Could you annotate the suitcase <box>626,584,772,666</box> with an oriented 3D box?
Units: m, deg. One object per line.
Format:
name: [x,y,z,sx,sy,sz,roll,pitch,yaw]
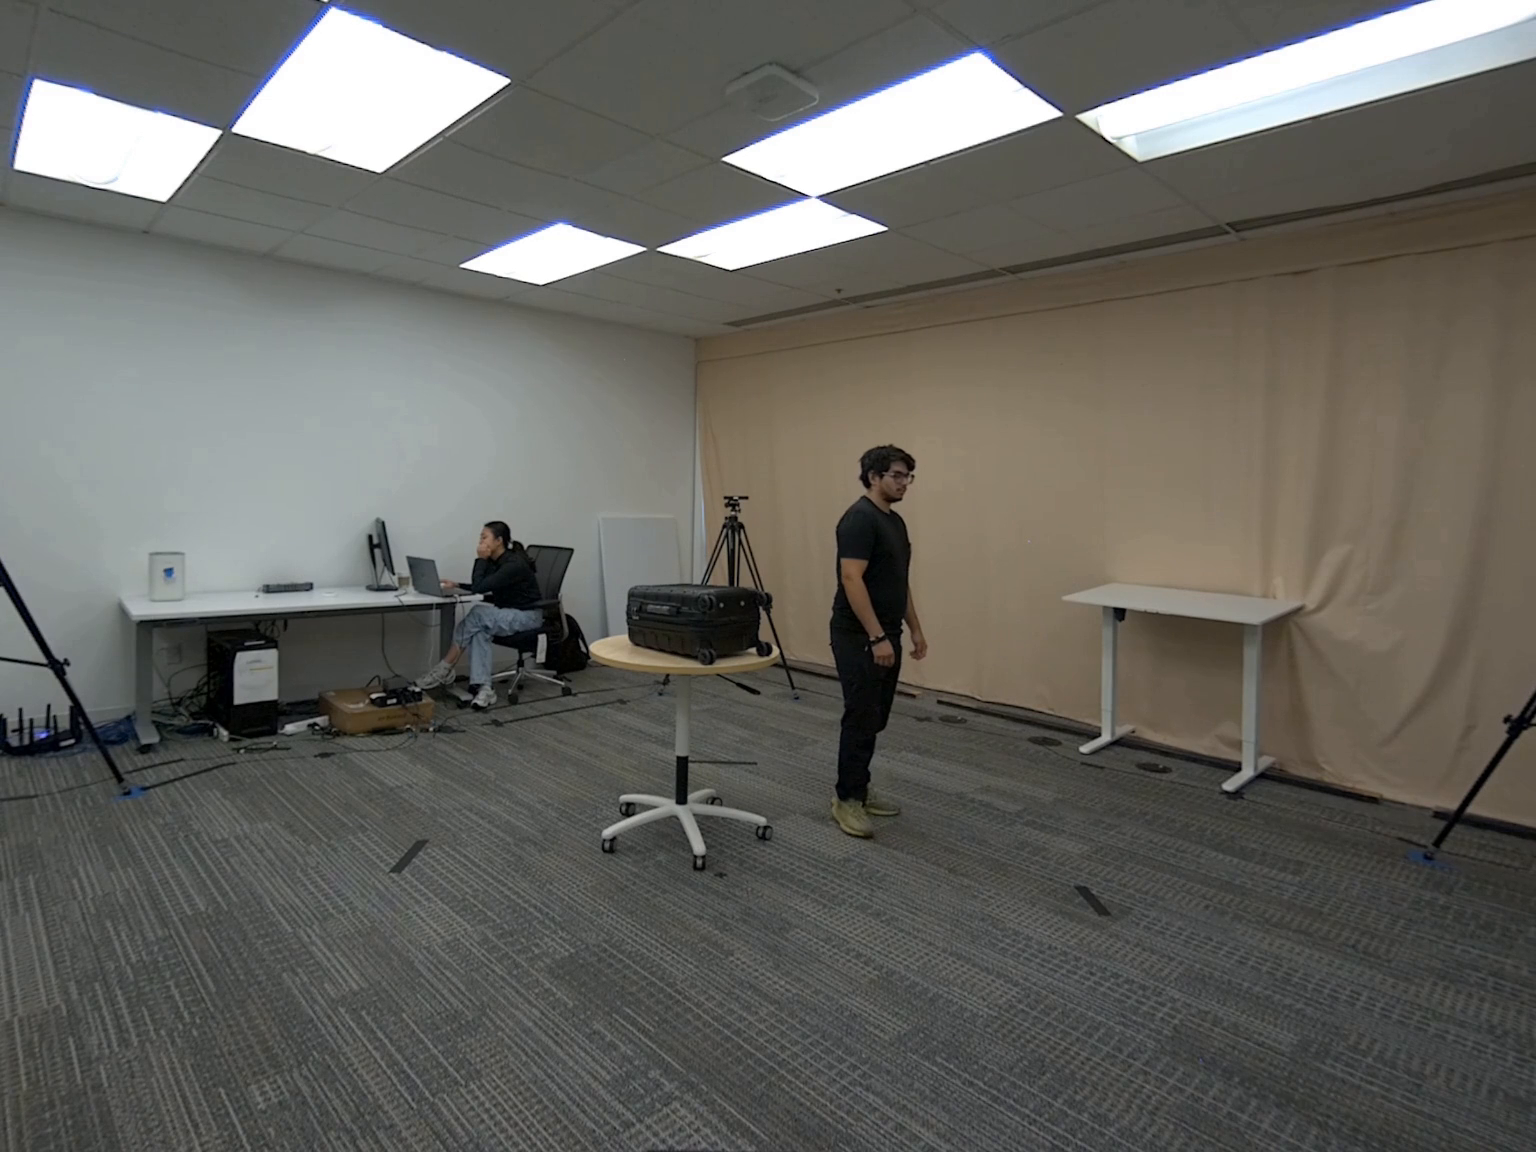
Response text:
suitcase: [-0.304,0.170,3.353,0.563,0.248,0.367,3,5,45]
